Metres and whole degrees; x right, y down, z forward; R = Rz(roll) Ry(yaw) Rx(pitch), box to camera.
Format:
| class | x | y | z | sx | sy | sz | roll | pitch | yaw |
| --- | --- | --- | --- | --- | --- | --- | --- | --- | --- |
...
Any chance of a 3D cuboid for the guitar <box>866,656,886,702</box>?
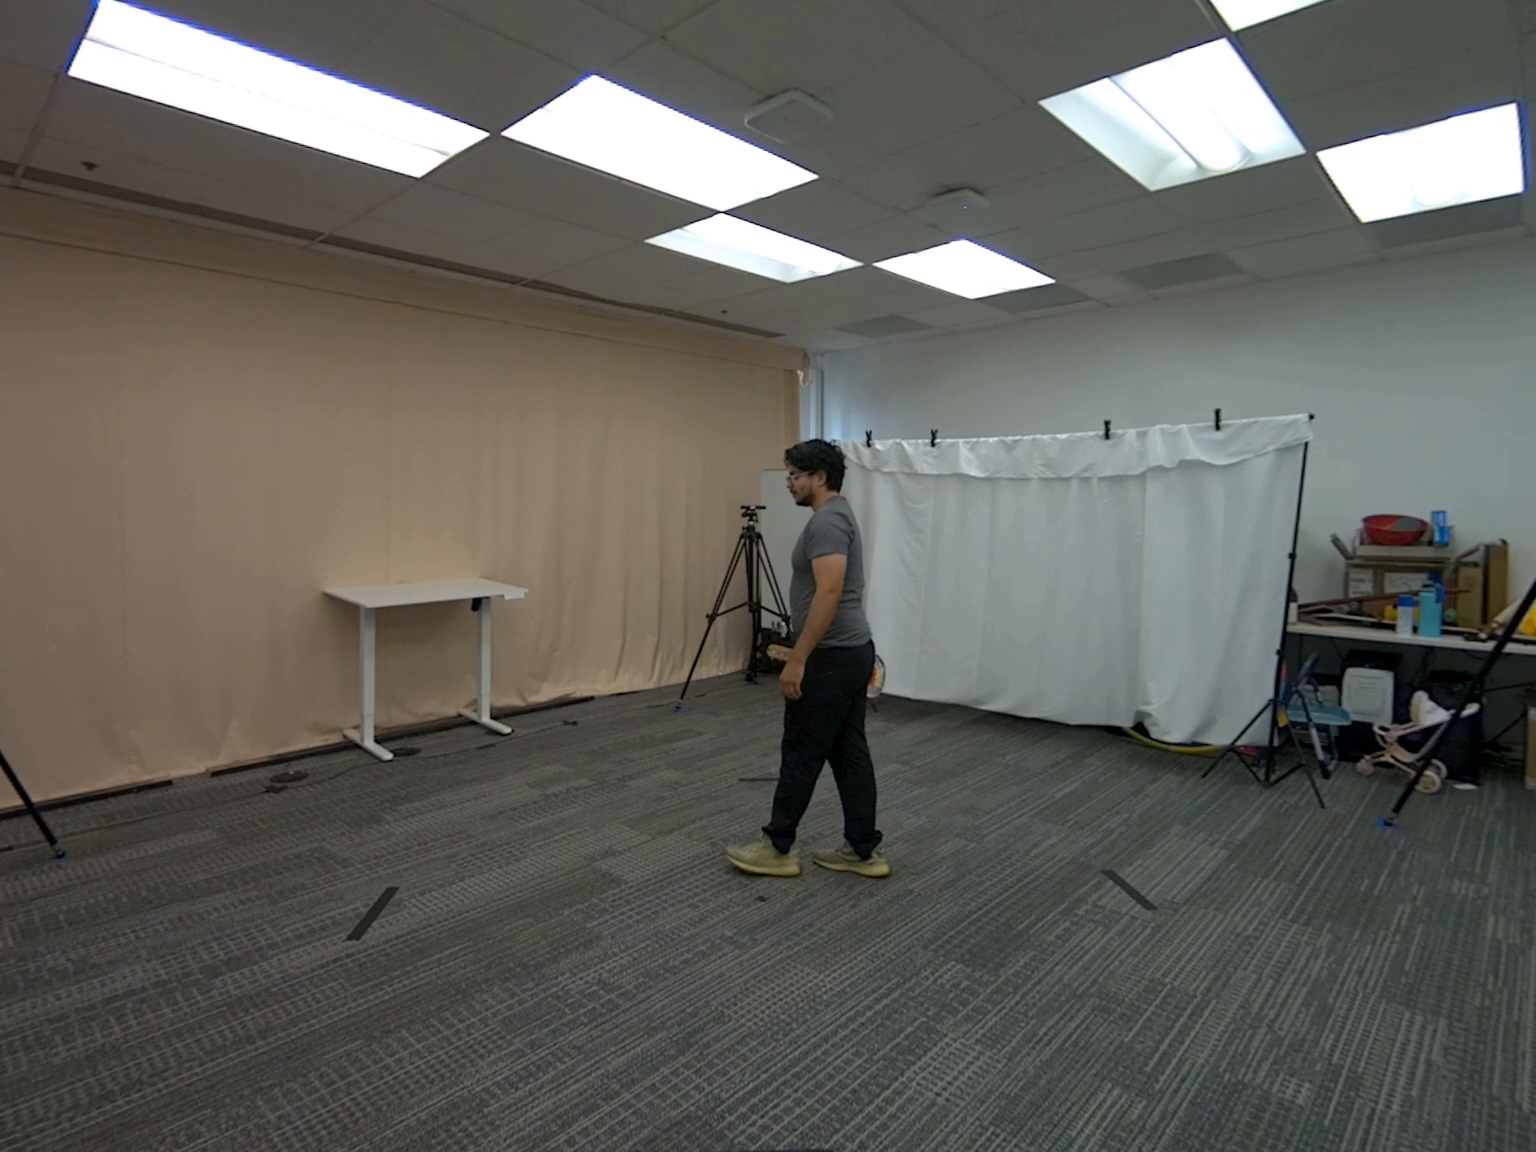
| class | x | y | z | sx | sy | sz | roll | pitch | yaw |
| --- | --- | --- | --- | --- | --- | --- | --- | --- | --- |
| guitar | 0.254 | 0.352 | 3.525 | 0.502 | 0.193 | 0.070 | 22 | -27 | 7 |
